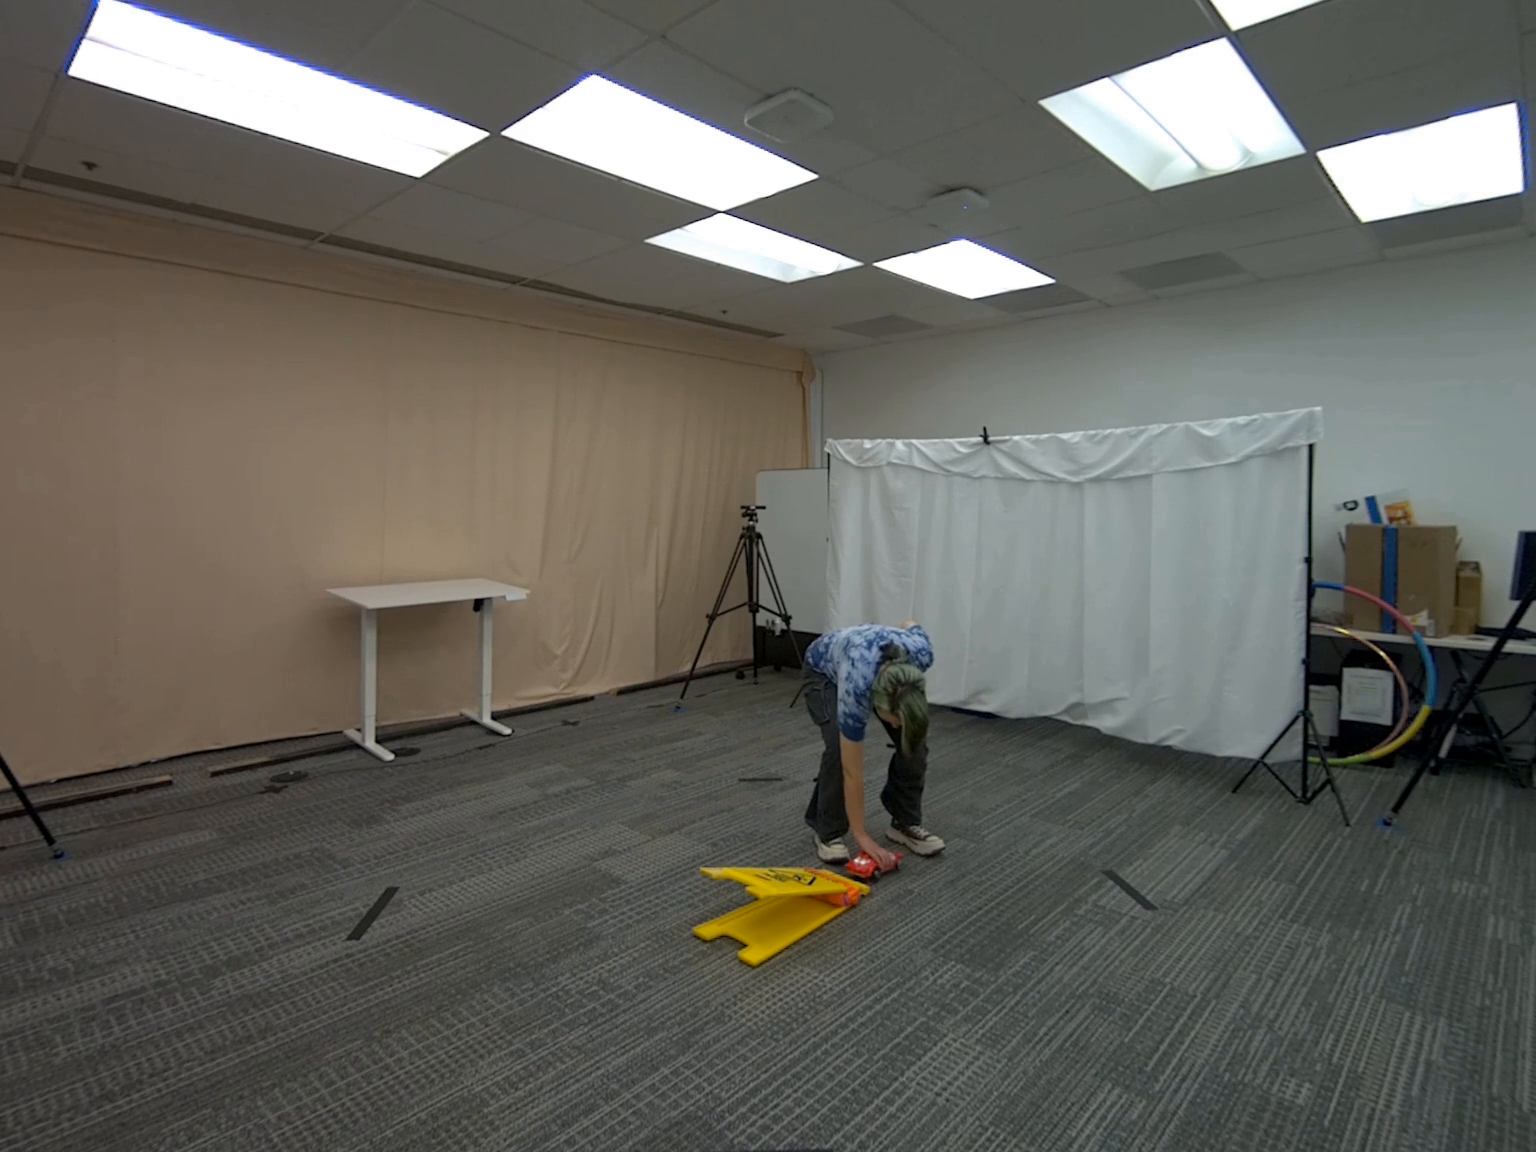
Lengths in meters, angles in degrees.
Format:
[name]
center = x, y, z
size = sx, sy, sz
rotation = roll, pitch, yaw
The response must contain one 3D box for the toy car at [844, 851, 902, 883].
[toy car]
center = 0.406, 1.084, 3.165
size = 0.246, 0.083, 0.134
rotation = 9, -6, -40
